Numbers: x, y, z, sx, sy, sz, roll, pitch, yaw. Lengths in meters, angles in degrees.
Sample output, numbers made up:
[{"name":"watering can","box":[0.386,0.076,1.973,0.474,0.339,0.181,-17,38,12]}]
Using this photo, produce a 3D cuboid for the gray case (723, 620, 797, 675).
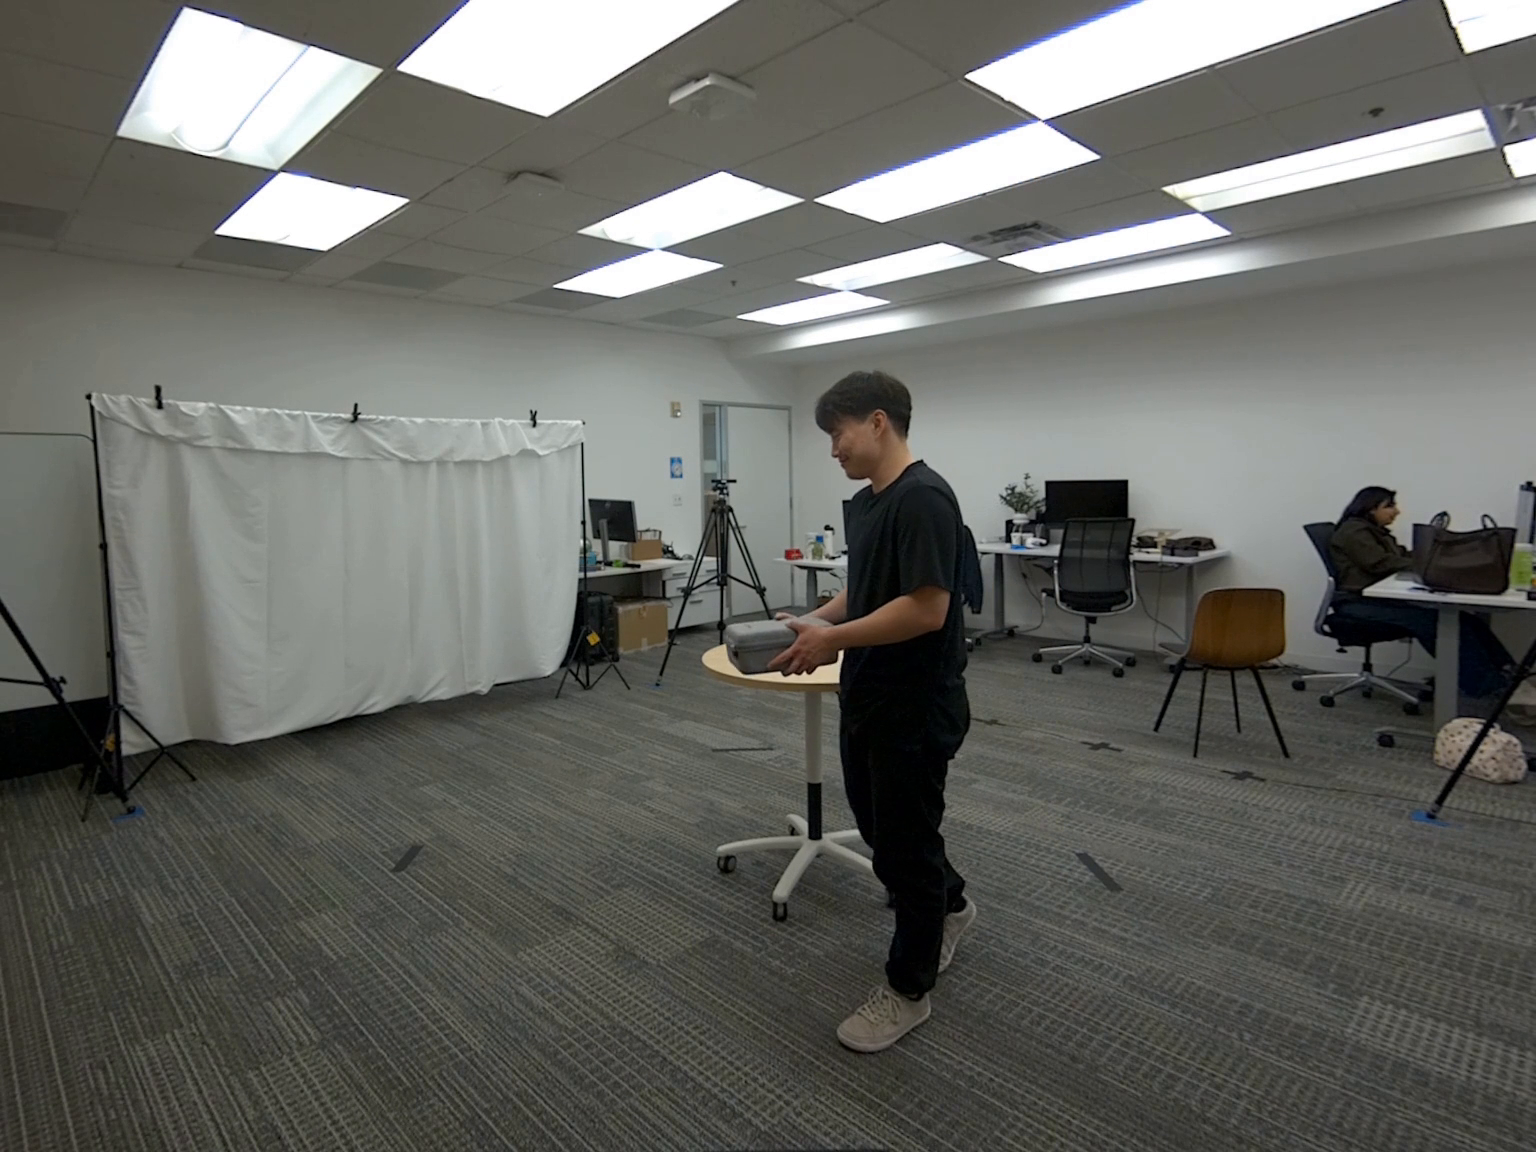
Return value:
[{"name":"gray case","box":[0.034,0.172,2.150,0.259,0.104,0.259,-6,4,-6]}]
